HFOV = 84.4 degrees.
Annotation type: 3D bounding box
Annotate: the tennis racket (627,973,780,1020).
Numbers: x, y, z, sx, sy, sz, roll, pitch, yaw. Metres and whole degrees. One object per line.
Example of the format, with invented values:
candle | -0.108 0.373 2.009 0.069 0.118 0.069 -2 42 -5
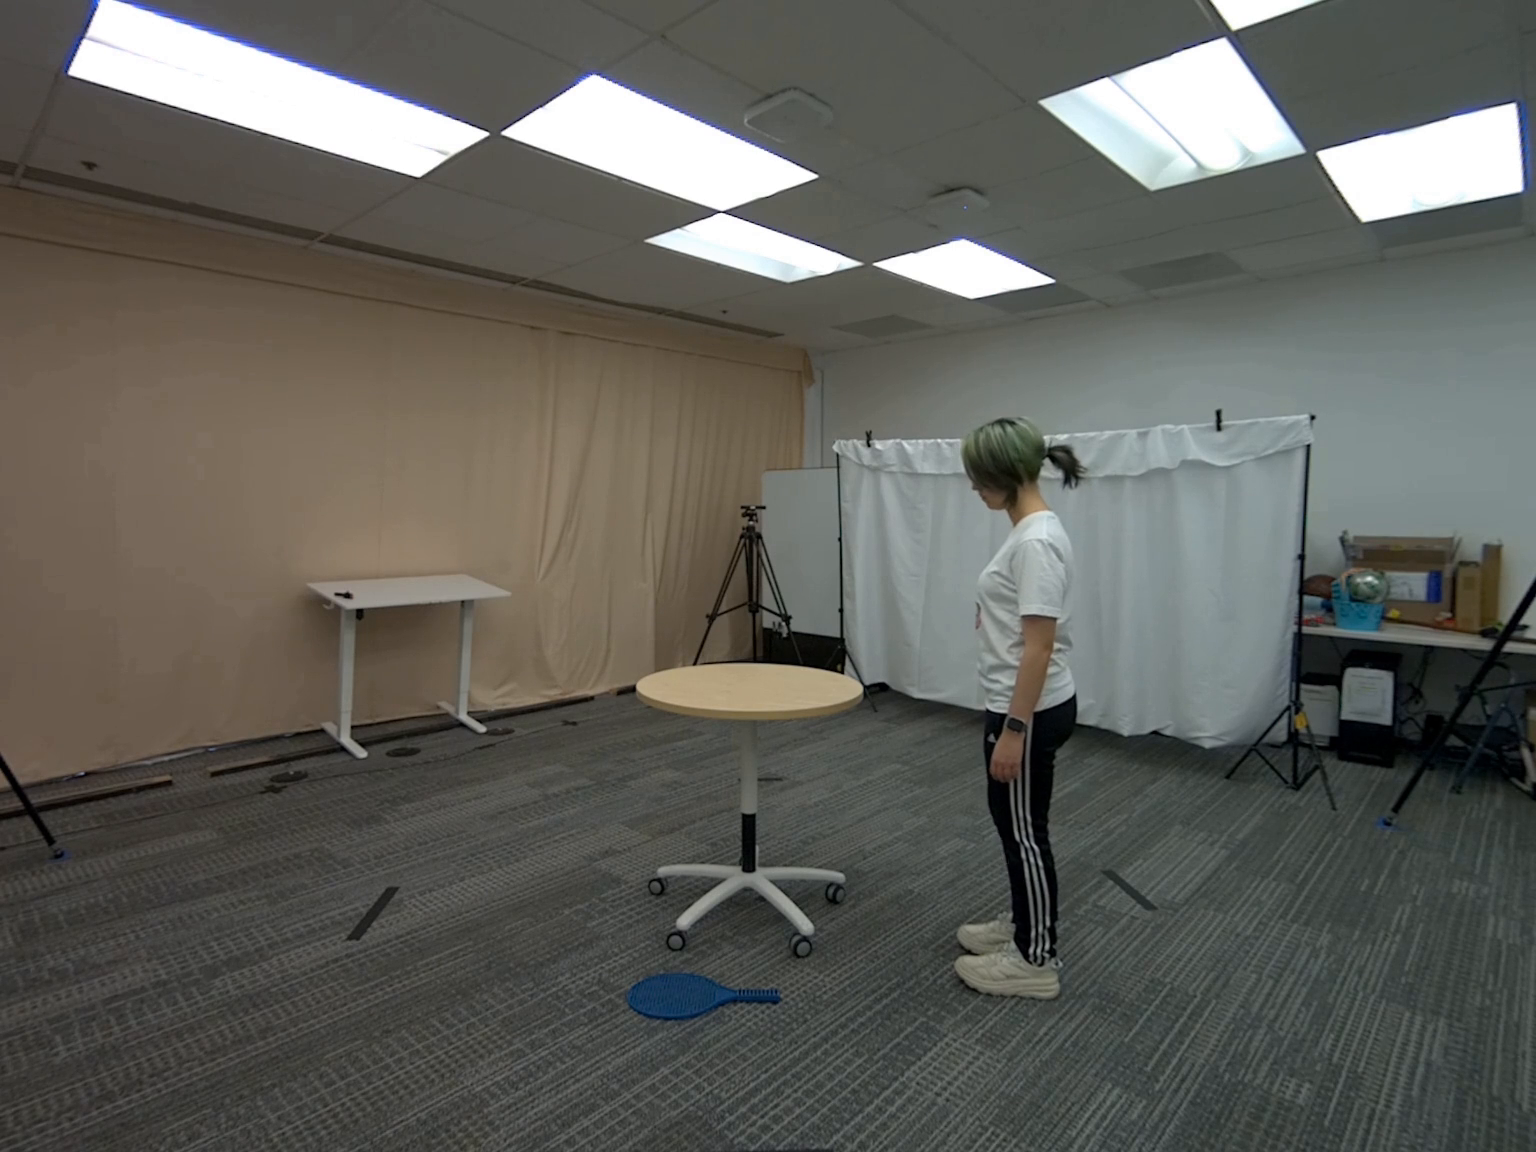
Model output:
tennis racket | -0.179 1.179 2.391 0.434 0.032 0.214 -2 4 2
